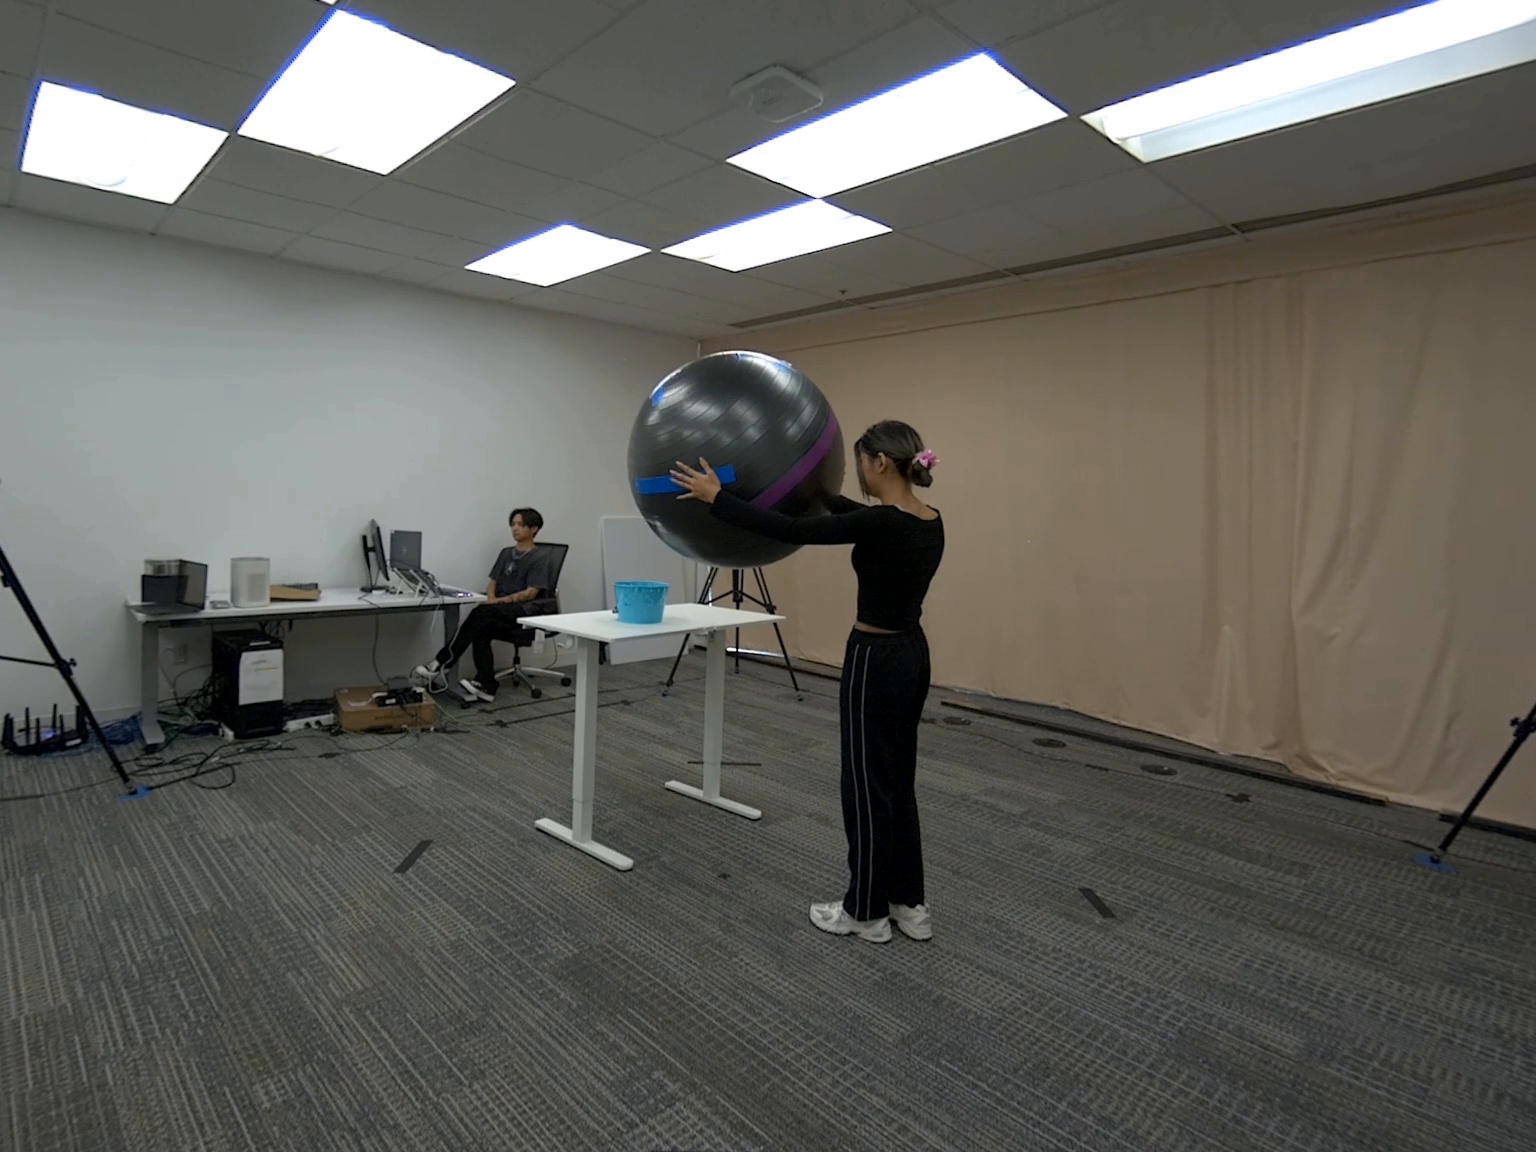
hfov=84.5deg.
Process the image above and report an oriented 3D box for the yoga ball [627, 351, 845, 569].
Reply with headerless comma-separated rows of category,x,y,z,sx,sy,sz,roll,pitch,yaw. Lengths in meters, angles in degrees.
yoga ball,-0.115,-0.393,2.950,0.757,0.756,0.760,1,4,-1
